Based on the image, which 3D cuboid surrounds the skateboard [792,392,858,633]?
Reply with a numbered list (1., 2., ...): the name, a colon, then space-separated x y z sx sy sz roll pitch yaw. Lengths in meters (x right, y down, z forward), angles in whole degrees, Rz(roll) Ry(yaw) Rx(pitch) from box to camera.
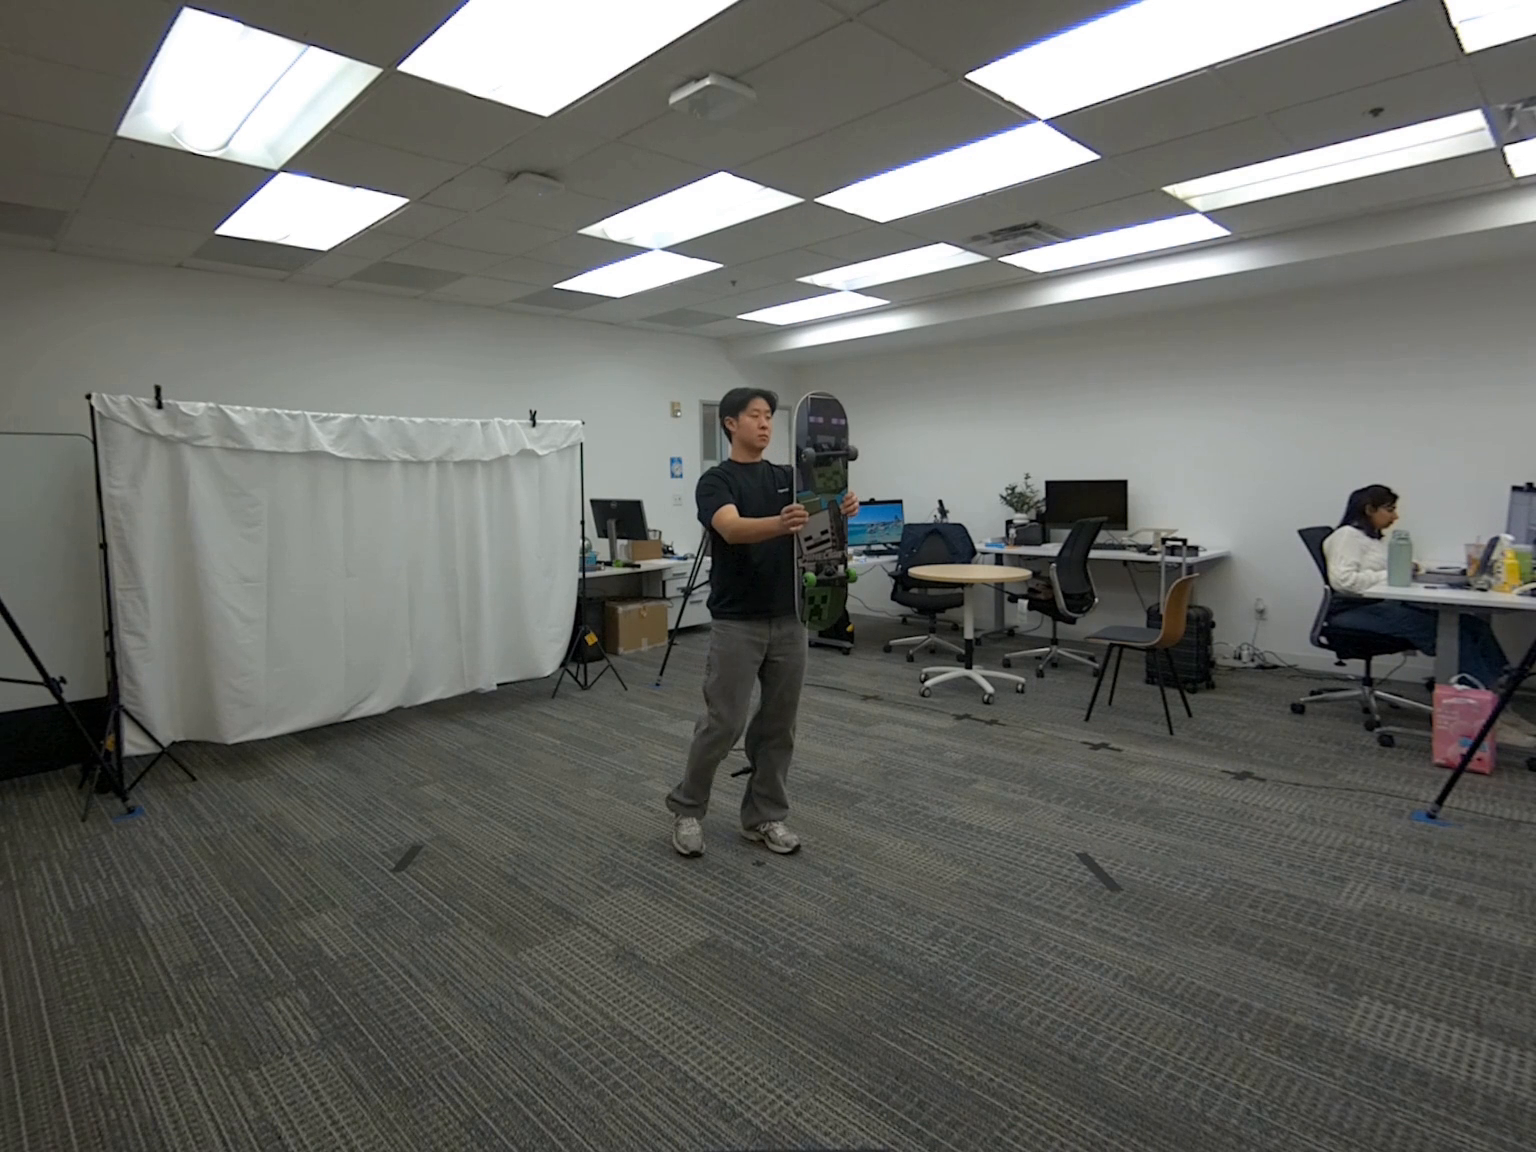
1. skateboard: 0.185 -0.190 2.751 0.190 0.778 0.113 -6 11 -21
